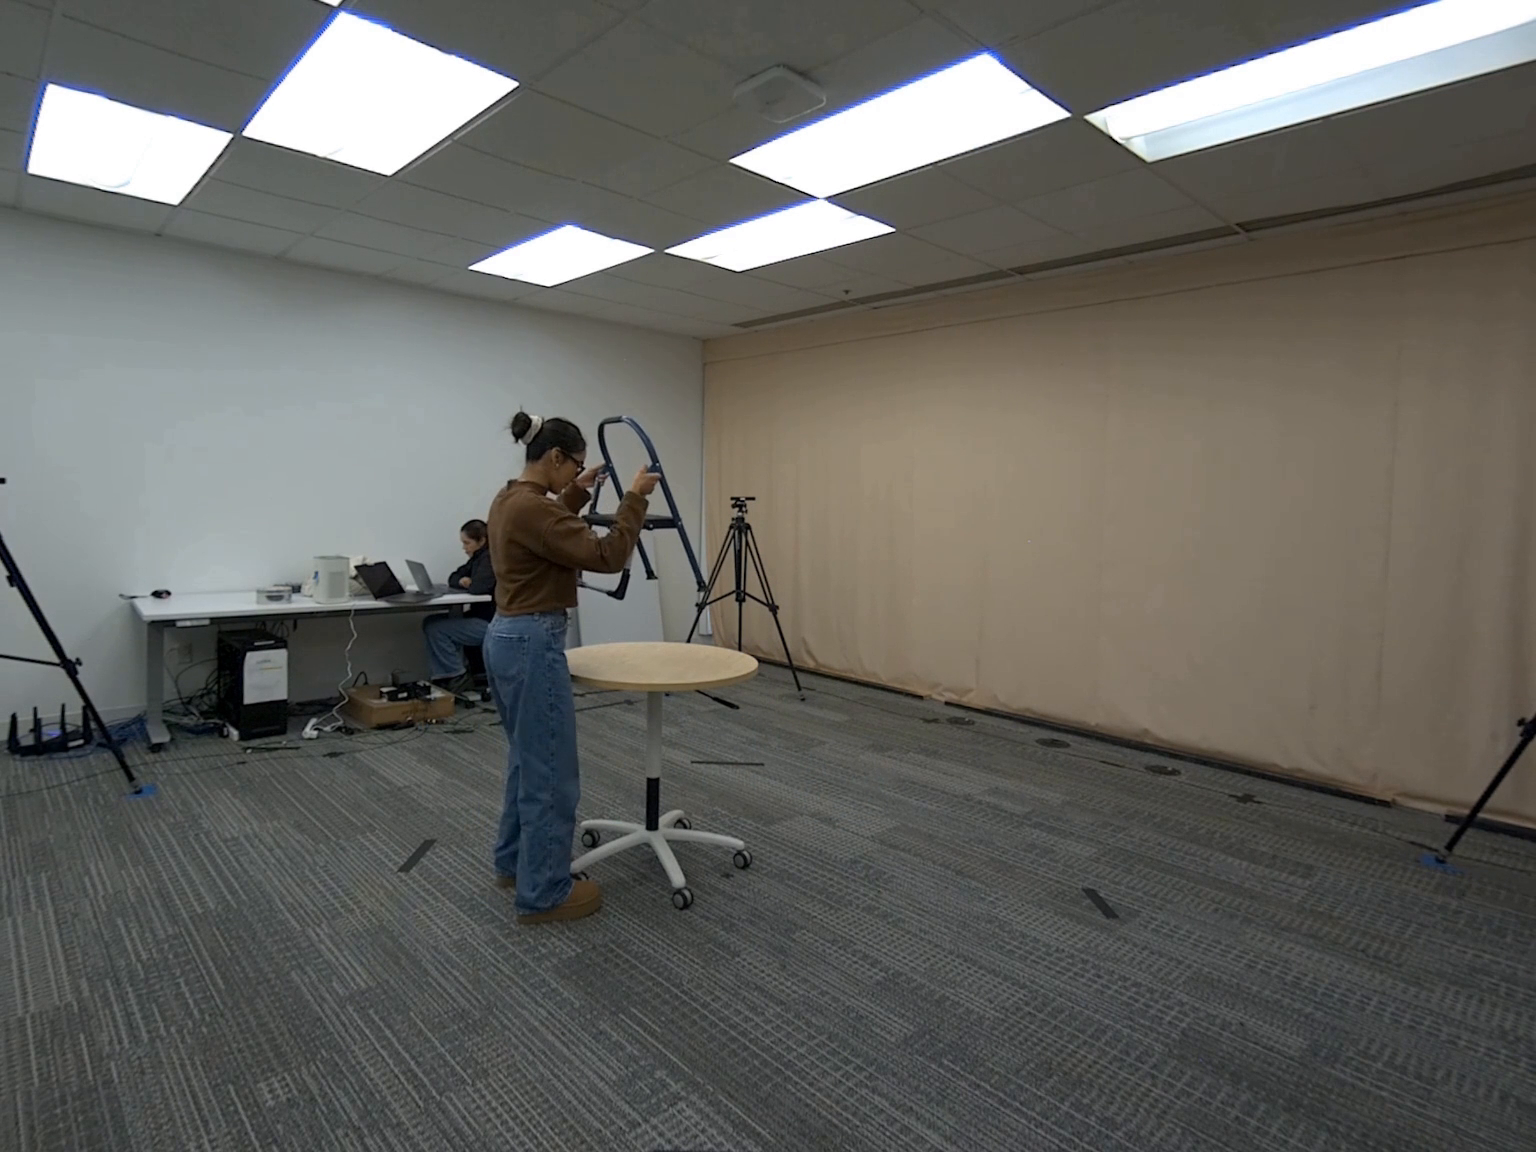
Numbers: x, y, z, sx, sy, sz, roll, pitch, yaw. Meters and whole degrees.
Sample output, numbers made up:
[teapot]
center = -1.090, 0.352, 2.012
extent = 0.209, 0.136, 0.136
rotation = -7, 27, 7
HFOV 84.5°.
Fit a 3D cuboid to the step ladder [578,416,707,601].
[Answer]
[step ladder]
center = -0.478, -0.255, 2.977
extent = 0.342, 0.604, 0.441
rotation = -3, 6, -34
